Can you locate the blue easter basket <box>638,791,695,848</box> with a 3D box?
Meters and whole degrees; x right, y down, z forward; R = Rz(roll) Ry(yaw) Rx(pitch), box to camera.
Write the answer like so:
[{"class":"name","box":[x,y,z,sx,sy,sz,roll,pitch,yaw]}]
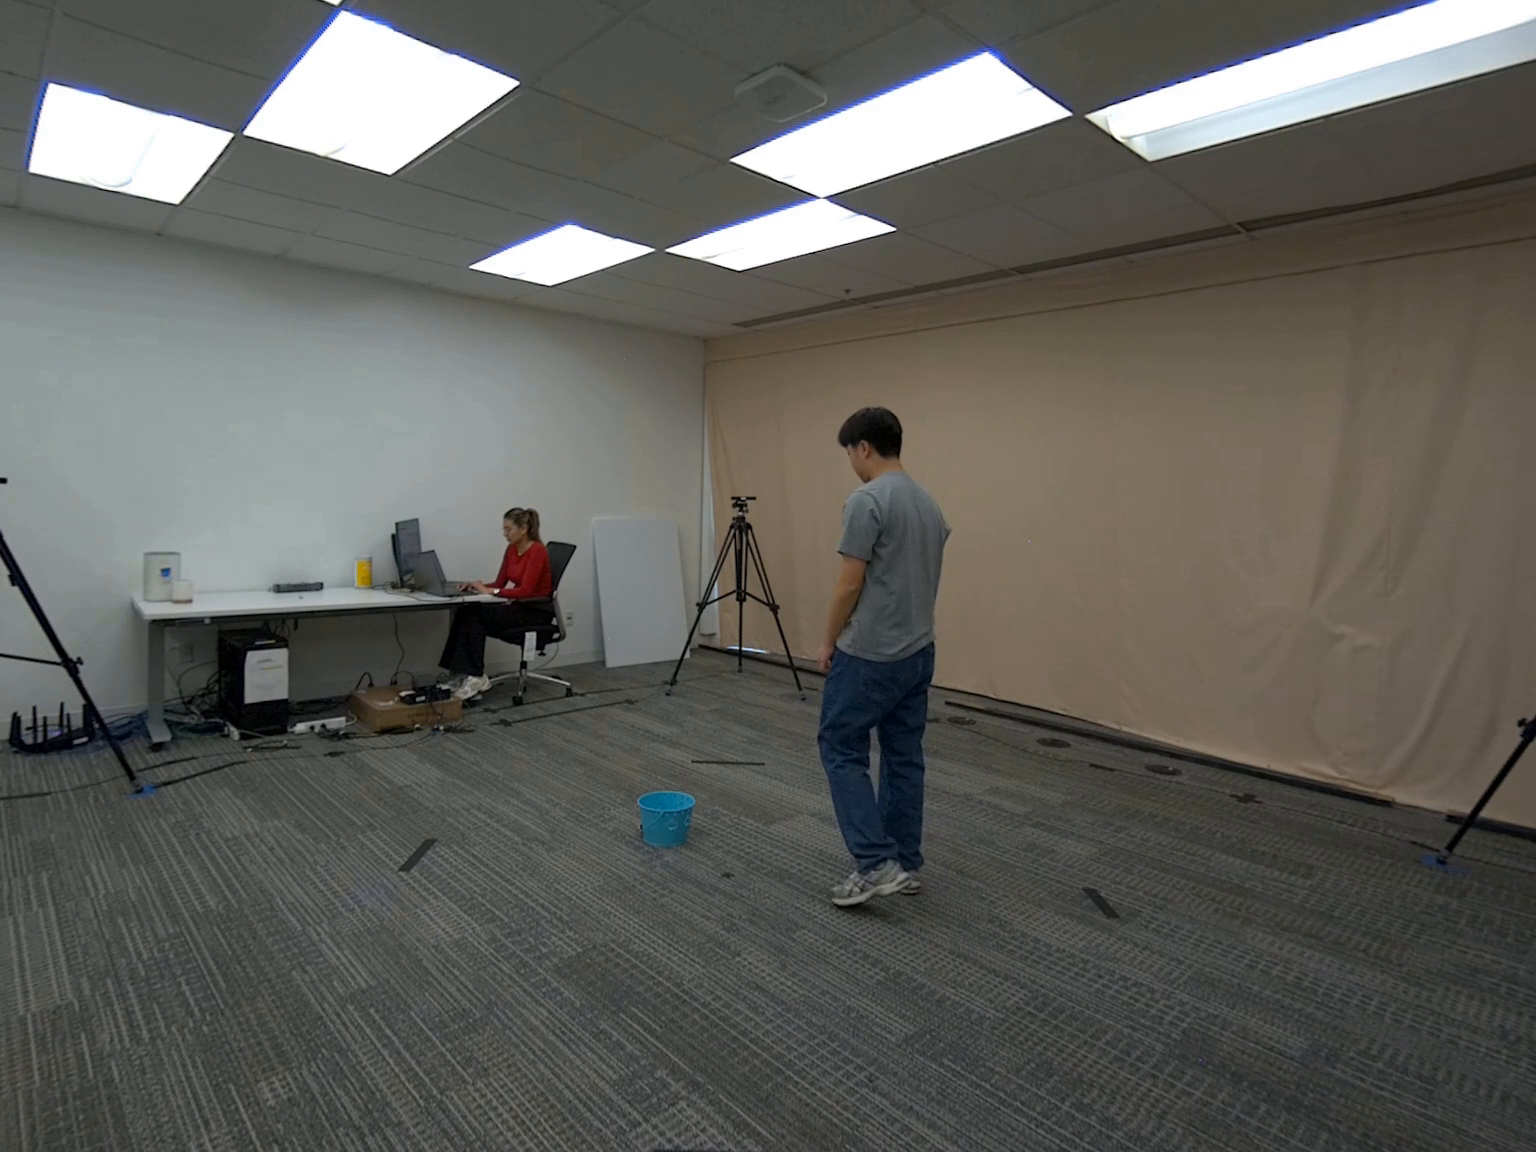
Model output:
[{"class":"blue easter basket","box":[-0.429,0.992,3.439,0.243,0.155,0.244,2,5,-2]}]
